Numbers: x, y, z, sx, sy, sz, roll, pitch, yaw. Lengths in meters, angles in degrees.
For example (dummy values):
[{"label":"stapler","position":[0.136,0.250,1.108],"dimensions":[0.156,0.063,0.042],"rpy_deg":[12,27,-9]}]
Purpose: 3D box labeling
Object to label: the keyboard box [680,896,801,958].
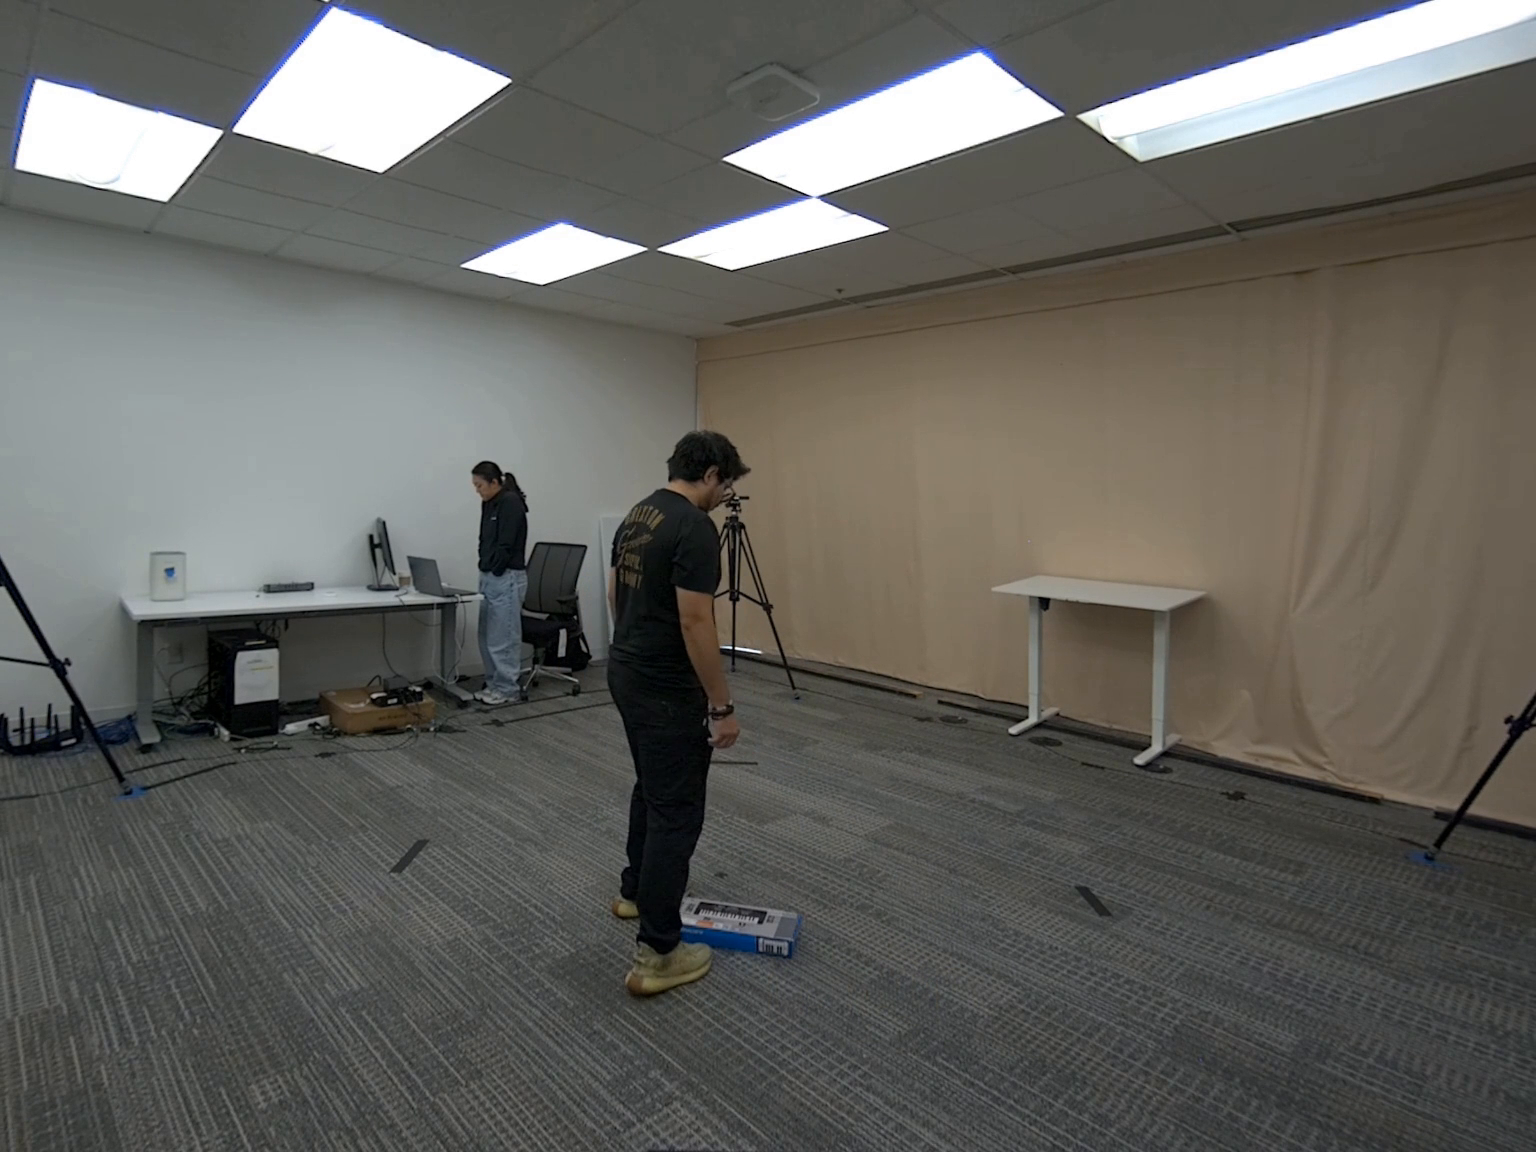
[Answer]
[{"label":"keyboard box","position":[-0.129,1.116,2.675],"dimensions":[0.442,0.059,0.174],"rpy_deg":[3,6,14]}]
